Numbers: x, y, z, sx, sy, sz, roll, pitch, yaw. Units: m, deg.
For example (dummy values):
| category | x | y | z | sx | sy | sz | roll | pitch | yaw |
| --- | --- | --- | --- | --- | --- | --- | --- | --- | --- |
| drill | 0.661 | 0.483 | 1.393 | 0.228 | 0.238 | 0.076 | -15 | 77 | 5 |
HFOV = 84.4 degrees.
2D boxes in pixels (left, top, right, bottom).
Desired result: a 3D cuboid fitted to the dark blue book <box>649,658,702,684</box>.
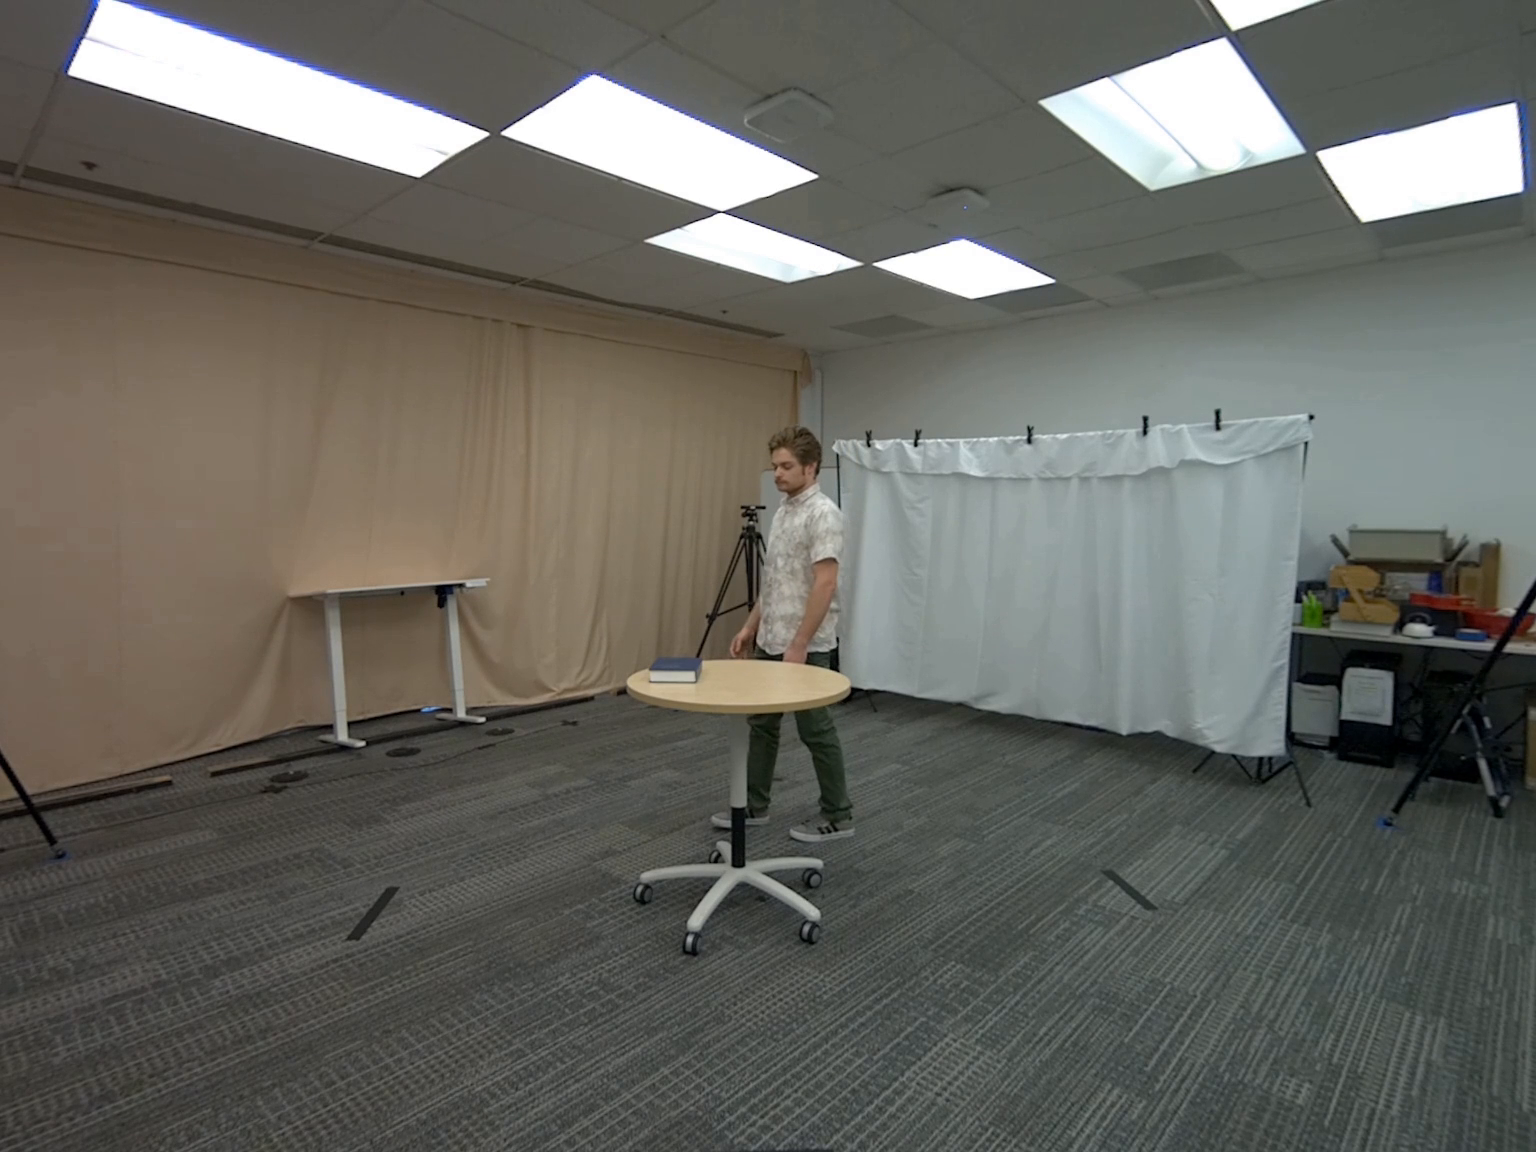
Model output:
| category | x | y | z | sx | sy | sz | roll | pitch | yaw |
| --- | --- | --- | --- | --- | --- | --- | --- | --- | --- |
| dark blue book | -0.323 | 0.328 | 2.969 | 0.164 | 0.045 | 0.245 | 0 | 5 | 1 |
